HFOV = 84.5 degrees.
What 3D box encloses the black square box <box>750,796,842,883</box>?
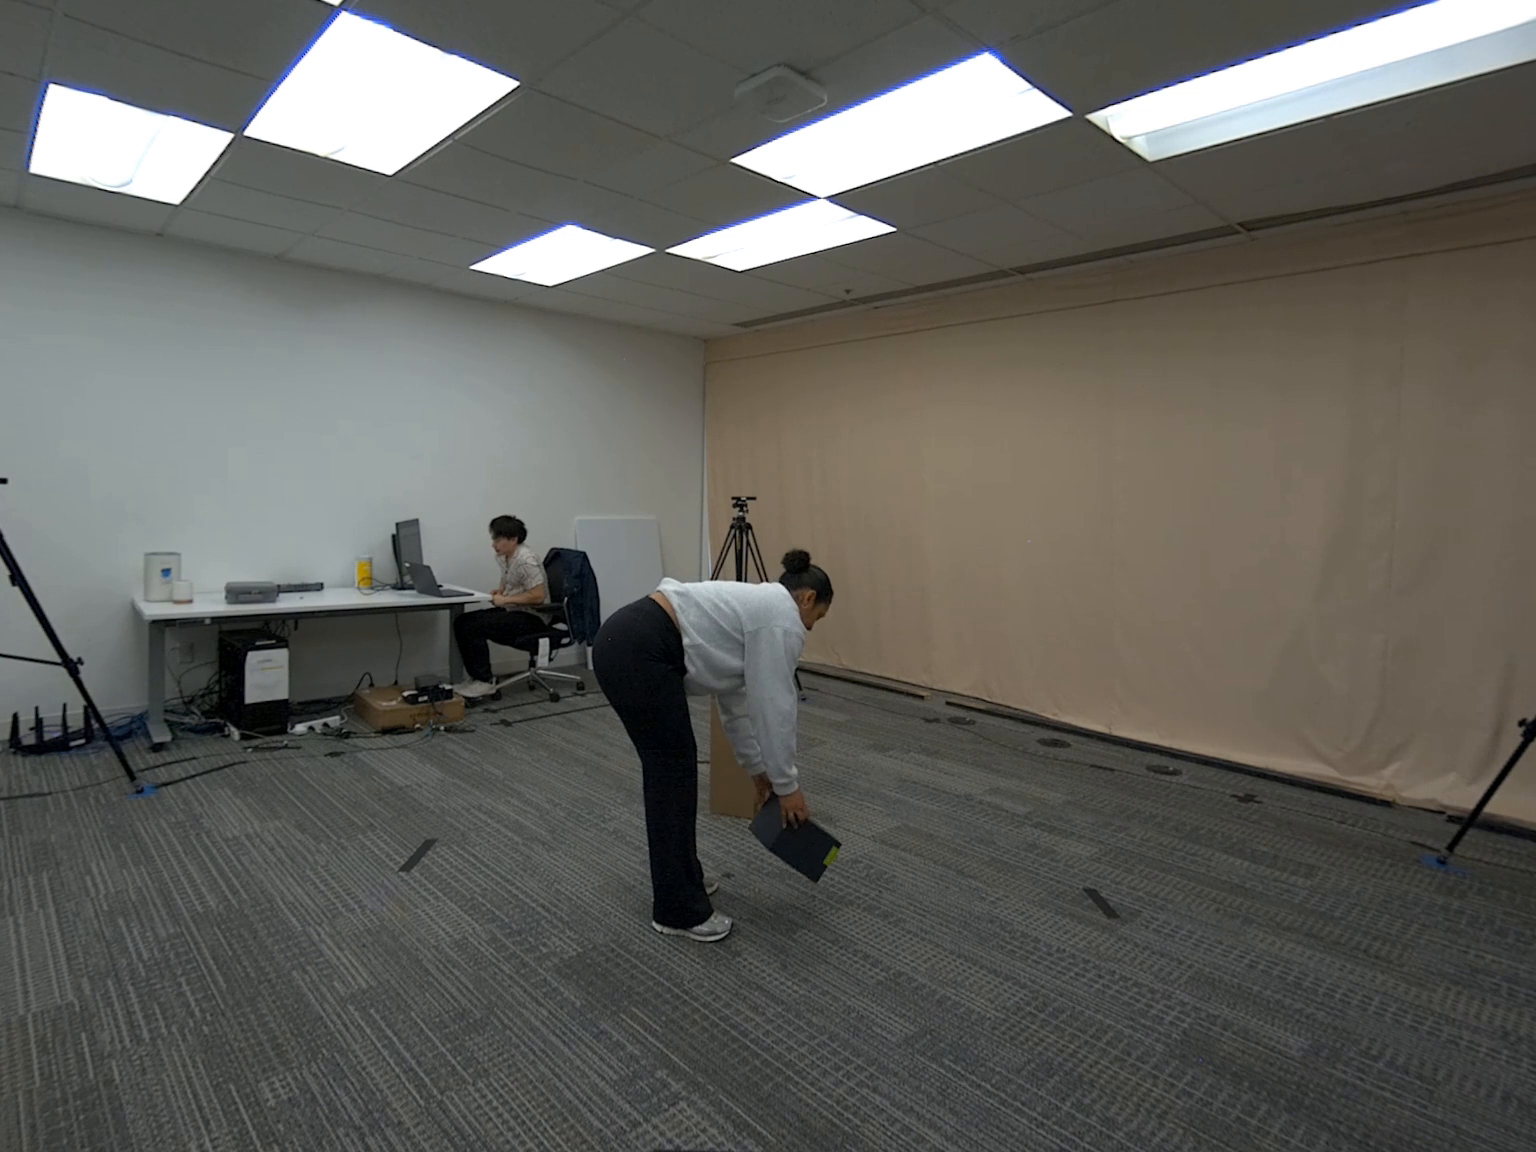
[{"bbox_3d":[0.091,0.880,2.858,0.213,0.156,0.231,38,-8,-16],"label":"black square box"}]
